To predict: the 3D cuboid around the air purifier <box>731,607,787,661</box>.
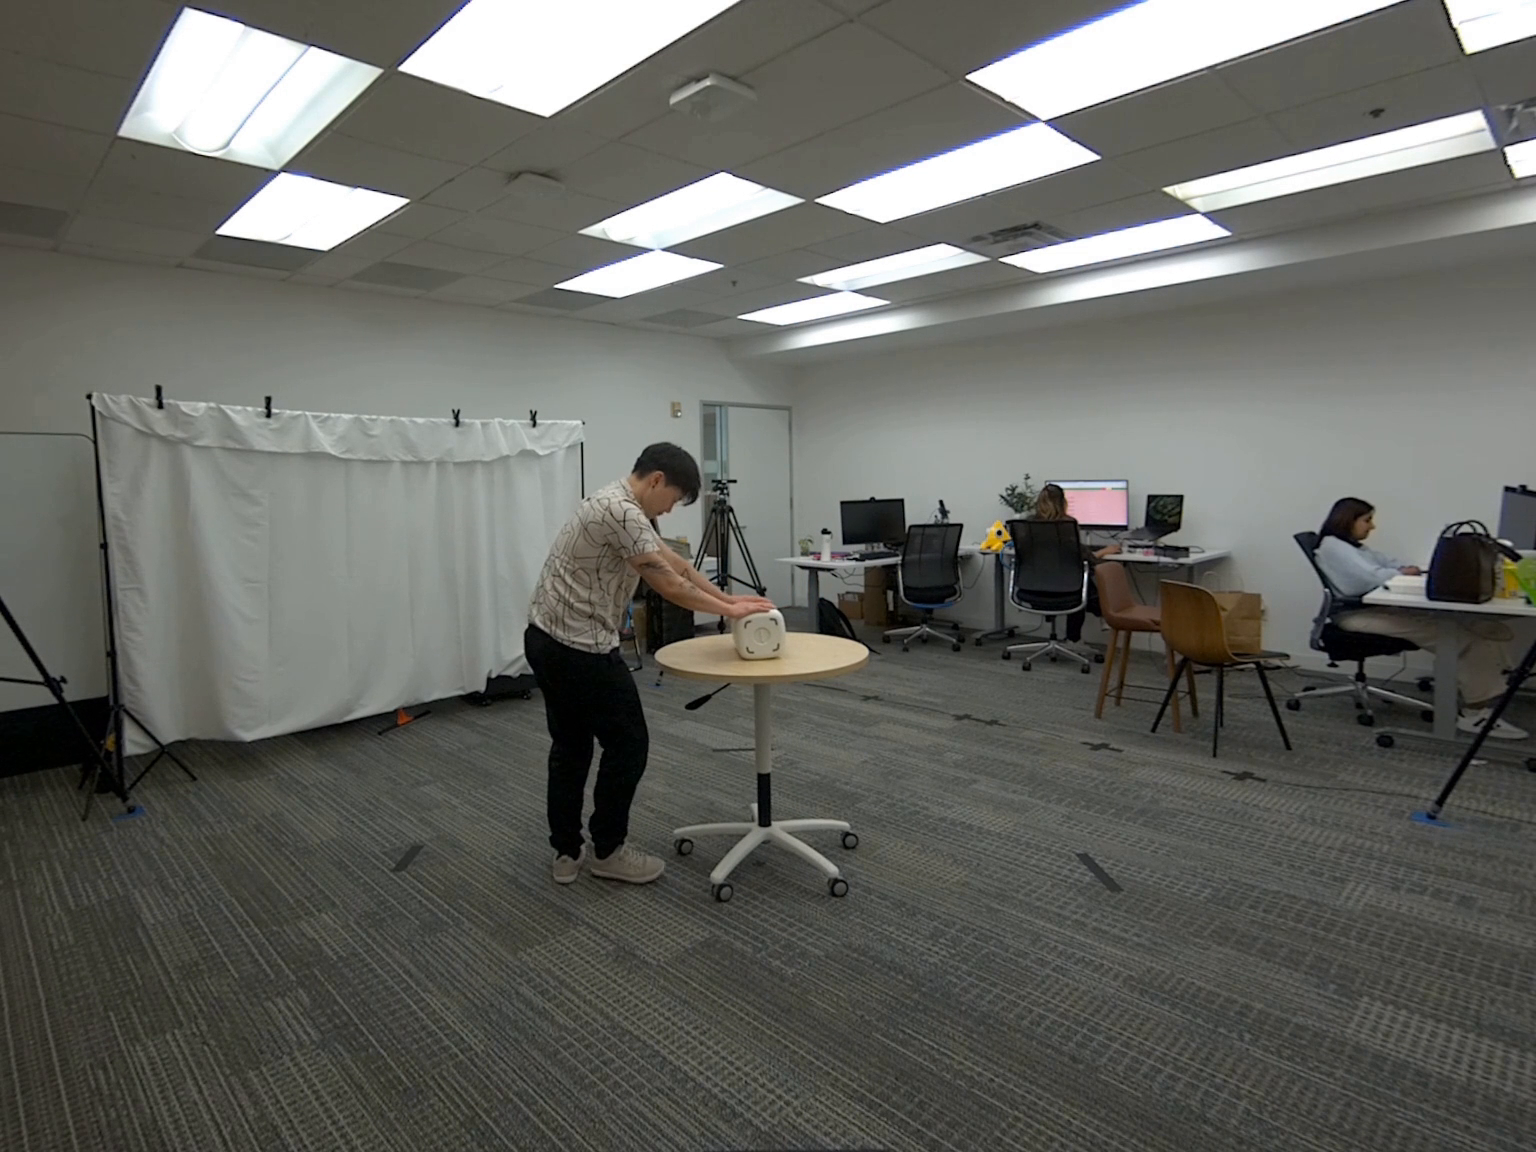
[{"bbox_3d":[-0.043,0.183,3.033,0.171,0.170,0.268,-4,9,-3],"label":"air purifier"}]
